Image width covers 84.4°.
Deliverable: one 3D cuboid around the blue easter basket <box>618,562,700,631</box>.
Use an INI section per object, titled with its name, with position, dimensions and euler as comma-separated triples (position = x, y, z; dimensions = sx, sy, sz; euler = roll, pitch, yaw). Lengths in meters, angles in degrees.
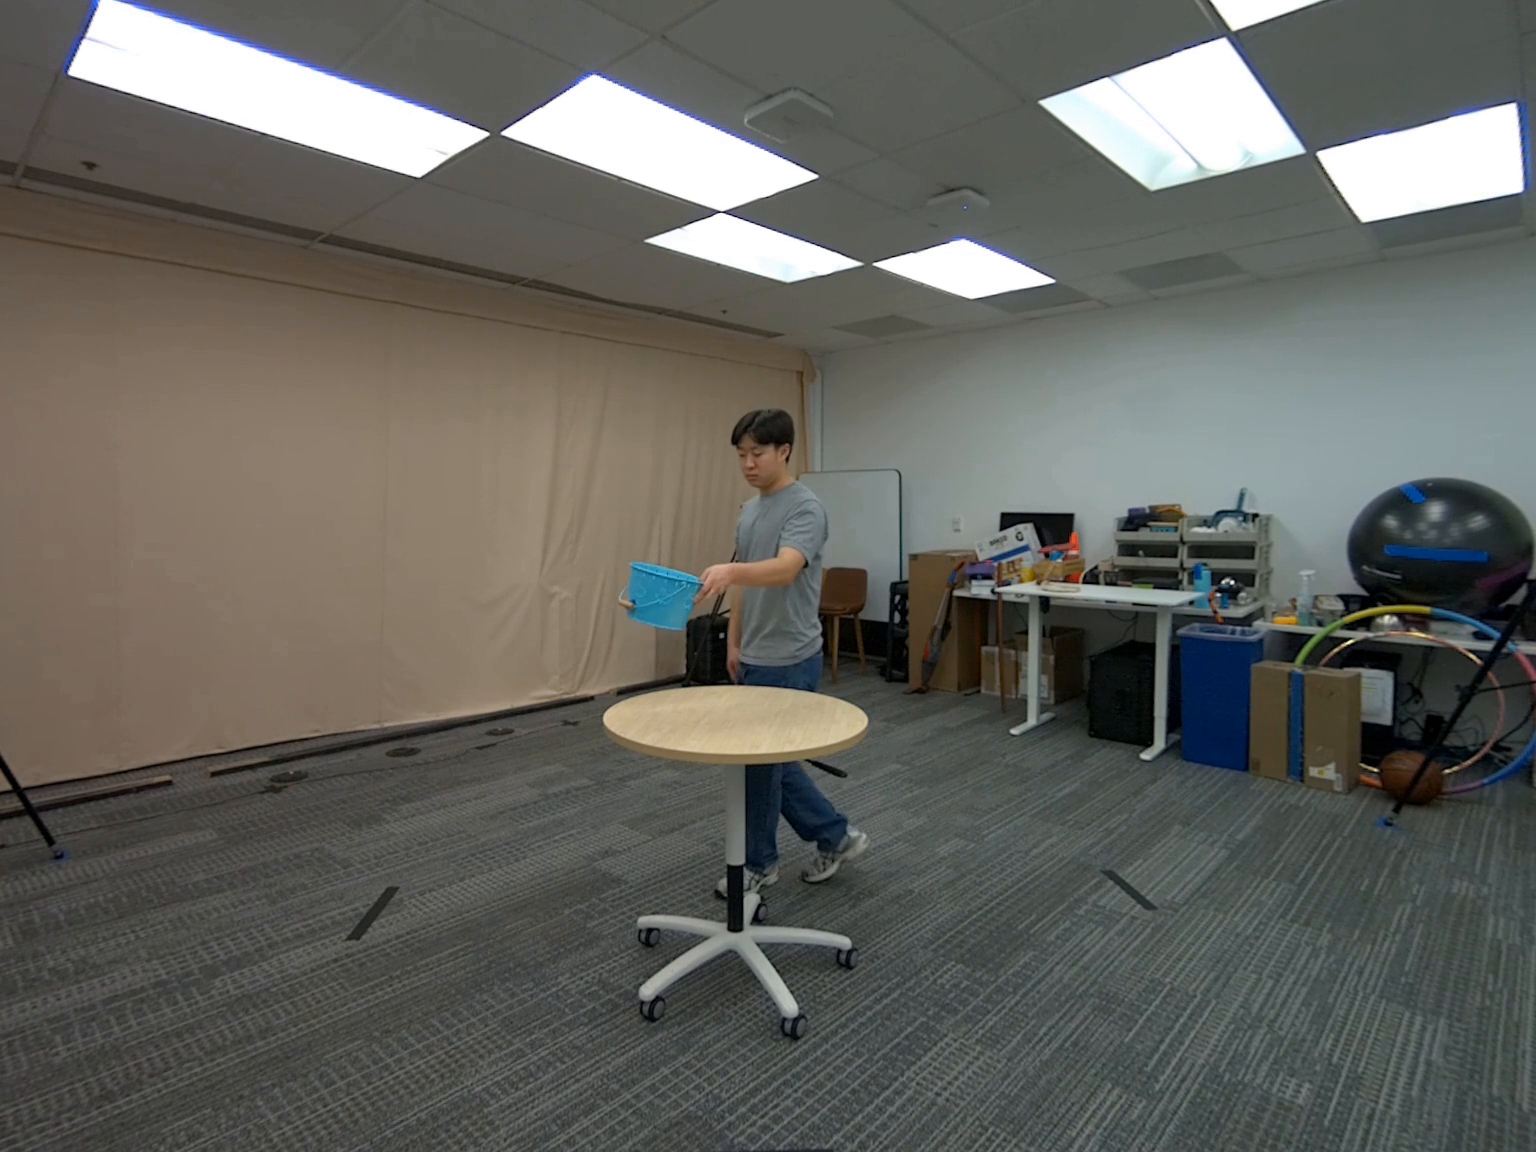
[blue easter basket]
position = -0.319, 0.054, 2.503
dimensions = 0.243, 0.156, 0.244
euler = 14, 3, -2
